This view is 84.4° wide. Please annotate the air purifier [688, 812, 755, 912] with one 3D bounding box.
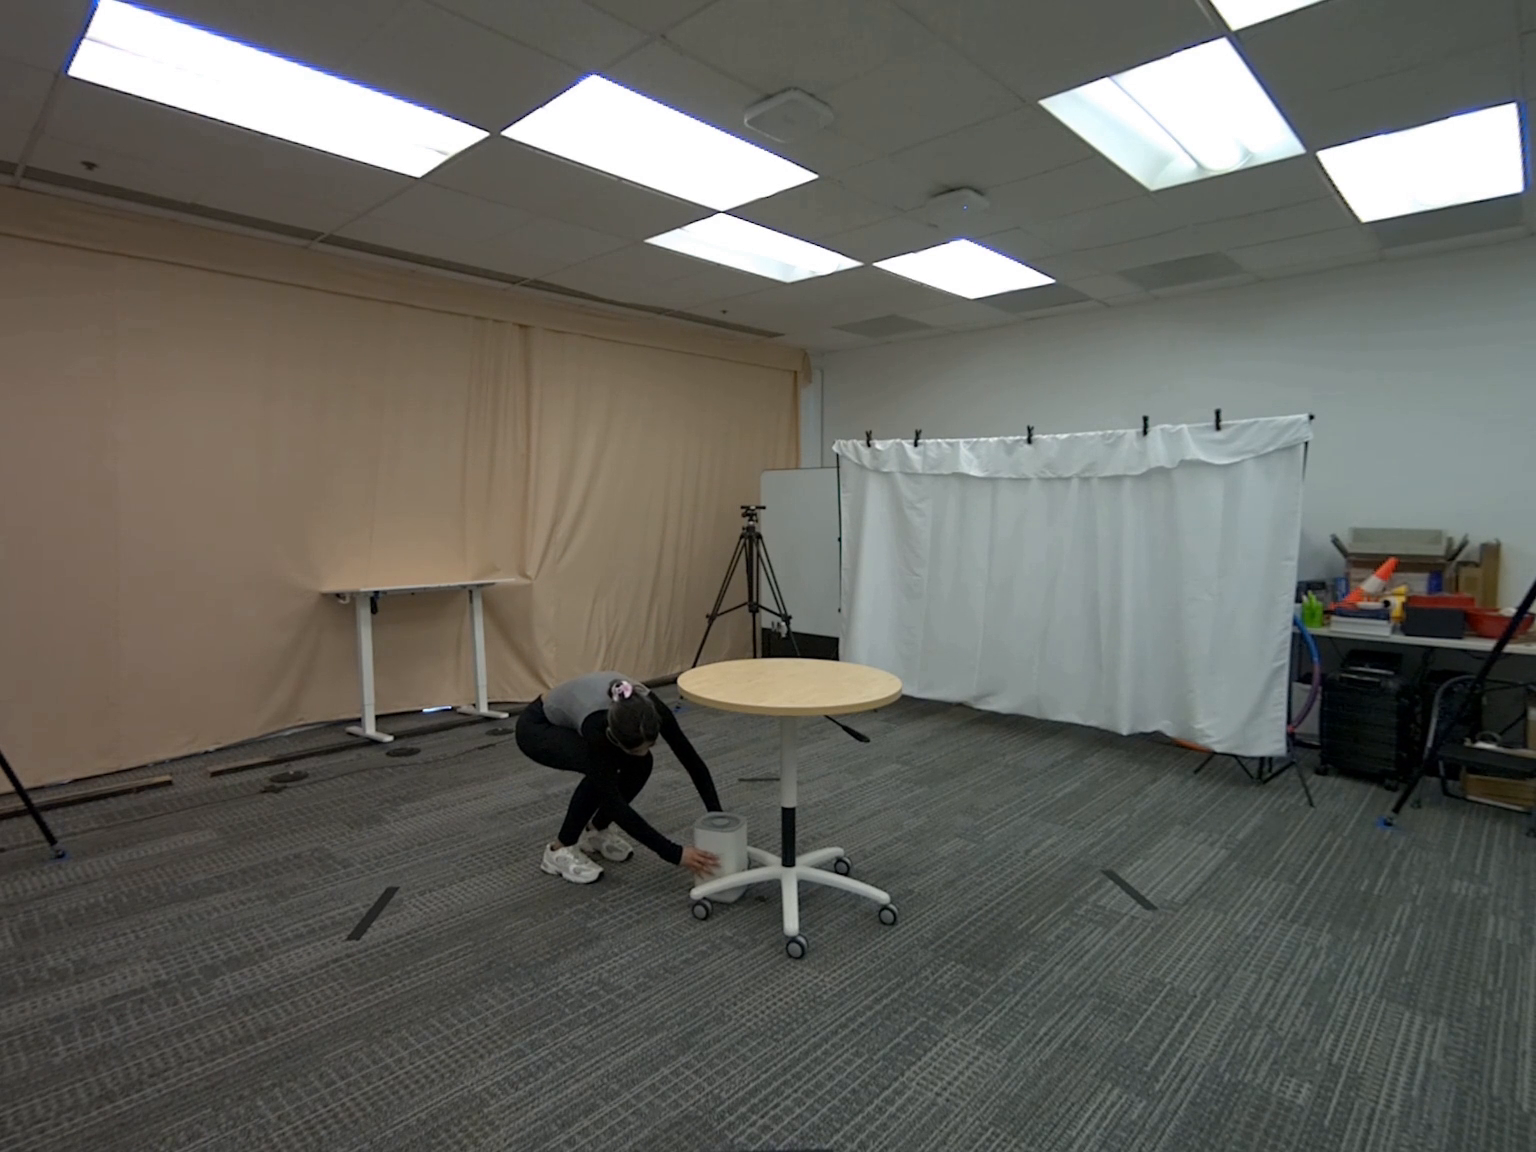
[{"bbox_3d":[-0.165,1.009,3.017,0.176,0.265,0.167,3,3,22],"label":"air purifier"}]
